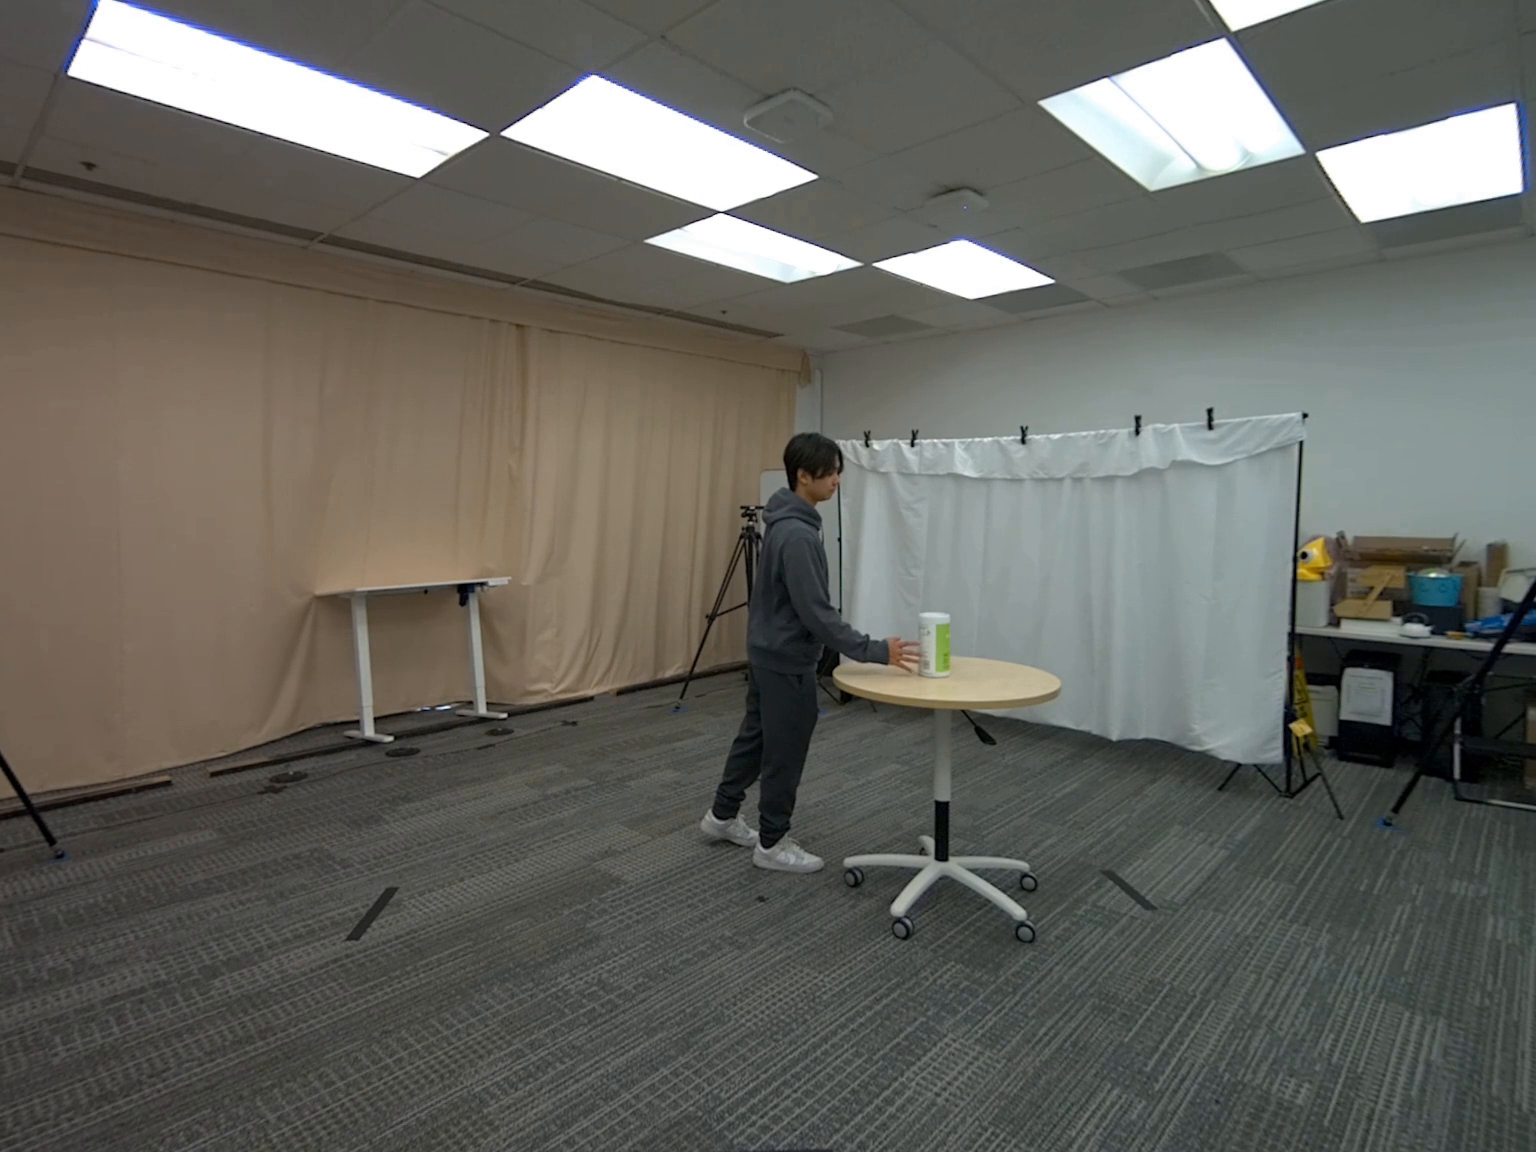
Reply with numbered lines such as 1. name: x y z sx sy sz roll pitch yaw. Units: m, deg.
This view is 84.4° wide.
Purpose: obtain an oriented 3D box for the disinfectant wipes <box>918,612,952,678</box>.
1. disinfectant wipes: 0.587 0.243 2.937 0.118 0.217 0.118 -1 3 -2
